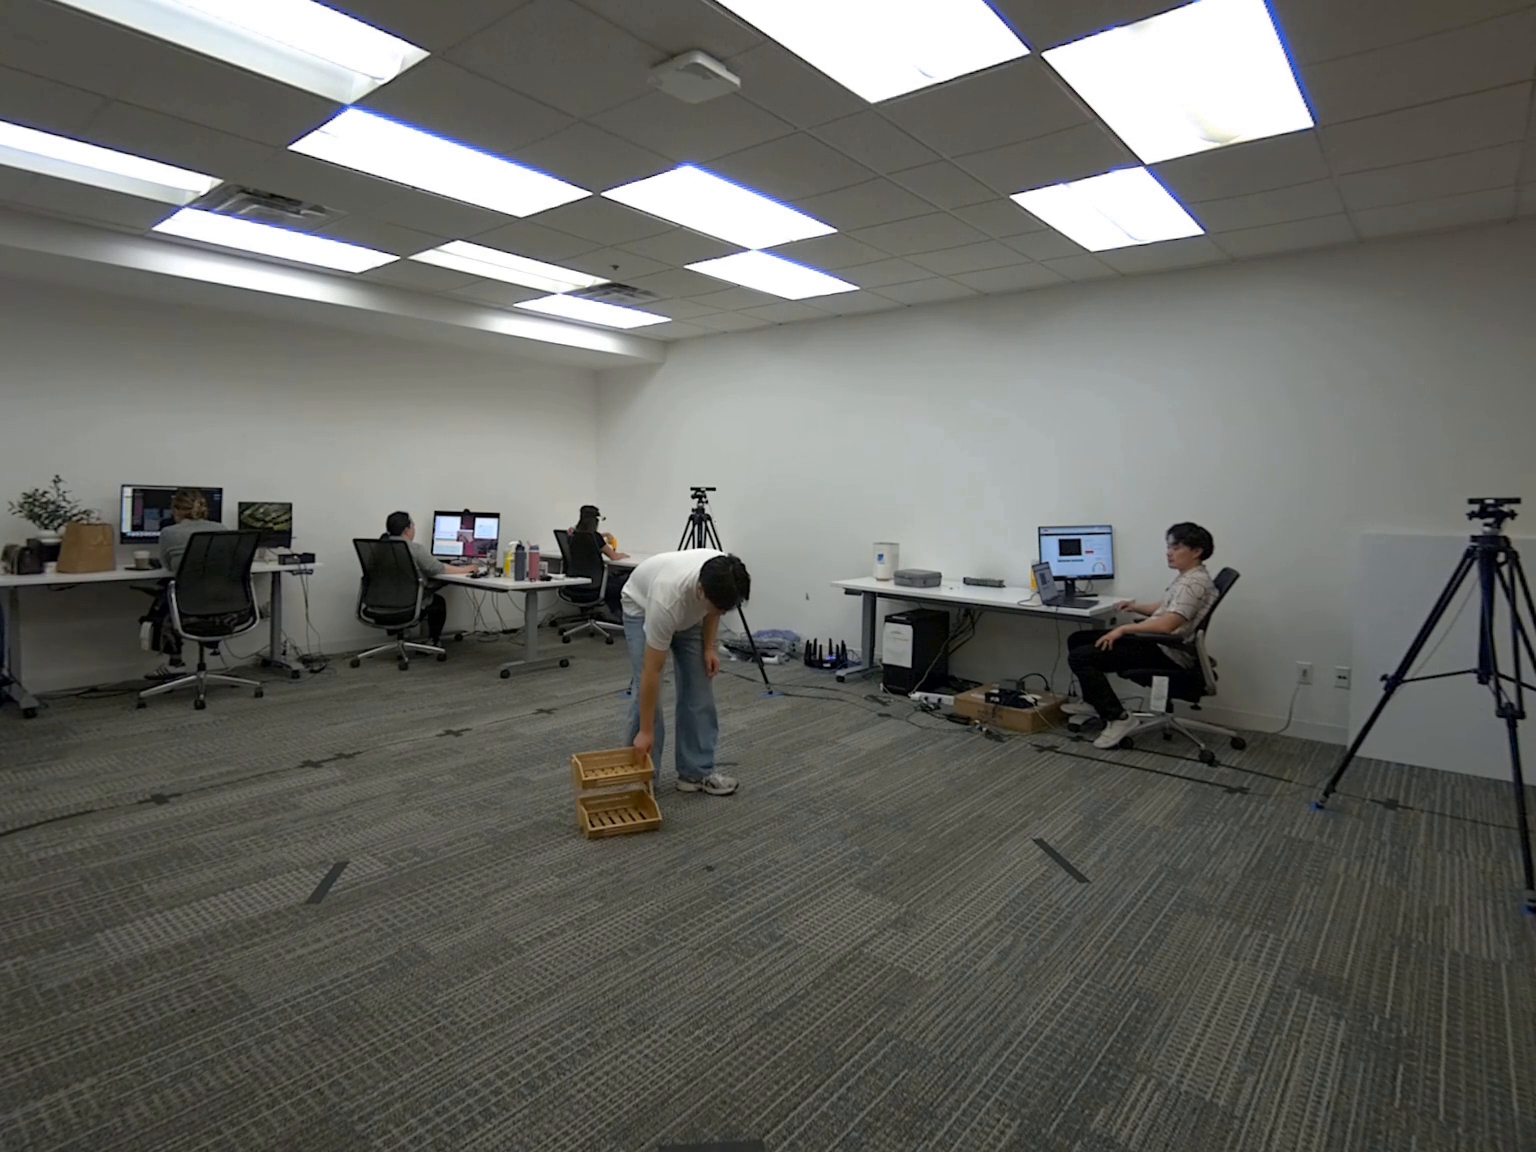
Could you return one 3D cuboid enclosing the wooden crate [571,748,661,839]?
[{"bbox_3d":[-0.642,0.883,3.508,0.317,0.272,0.310,-2,5,-24],"label":"wooden crate"}]
